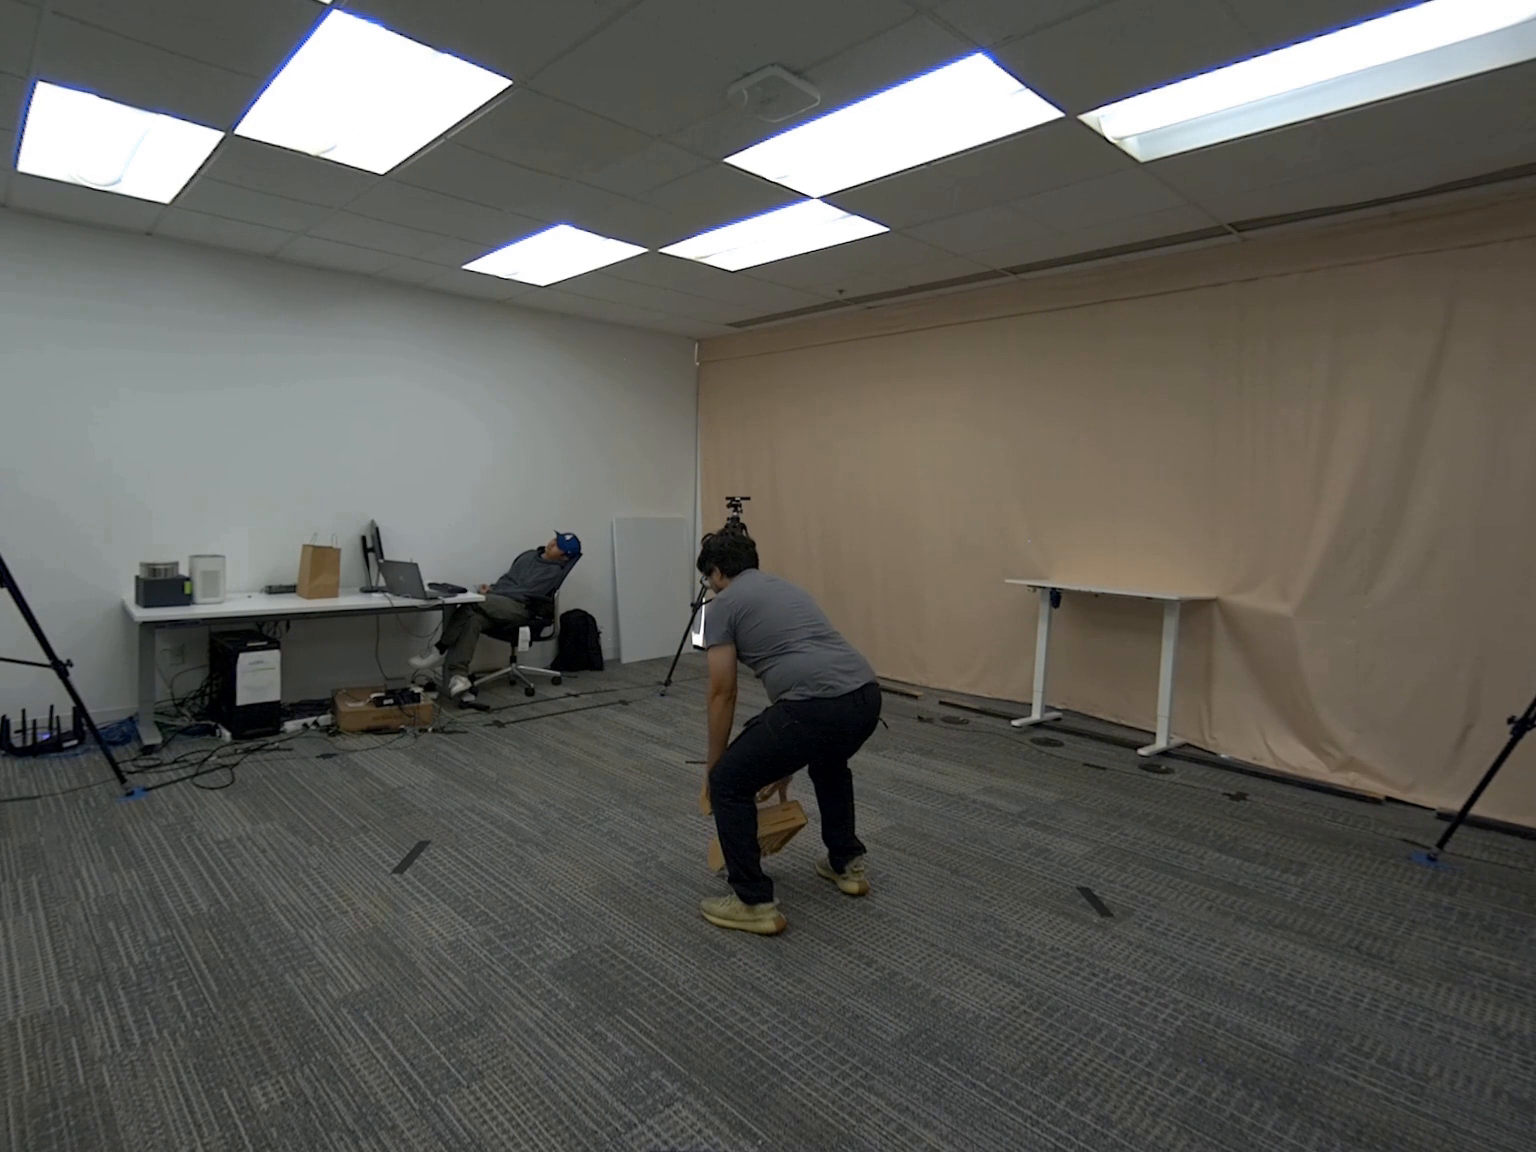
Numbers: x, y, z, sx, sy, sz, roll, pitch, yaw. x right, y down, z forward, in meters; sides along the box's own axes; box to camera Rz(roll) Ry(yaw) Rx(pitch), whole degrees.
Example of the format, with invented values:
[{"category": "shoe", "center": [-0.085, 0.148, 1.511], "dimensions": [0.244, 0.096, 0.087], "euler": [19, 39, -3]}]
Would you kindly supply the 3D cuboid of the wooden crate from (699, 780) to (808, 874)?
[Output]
[{"category": "wooden crate", "center": [-0.090, 0.853, 3.055], "dimensions": [0.317, 0.280, 0.301], "euler": [-1, -40, -44]}]
